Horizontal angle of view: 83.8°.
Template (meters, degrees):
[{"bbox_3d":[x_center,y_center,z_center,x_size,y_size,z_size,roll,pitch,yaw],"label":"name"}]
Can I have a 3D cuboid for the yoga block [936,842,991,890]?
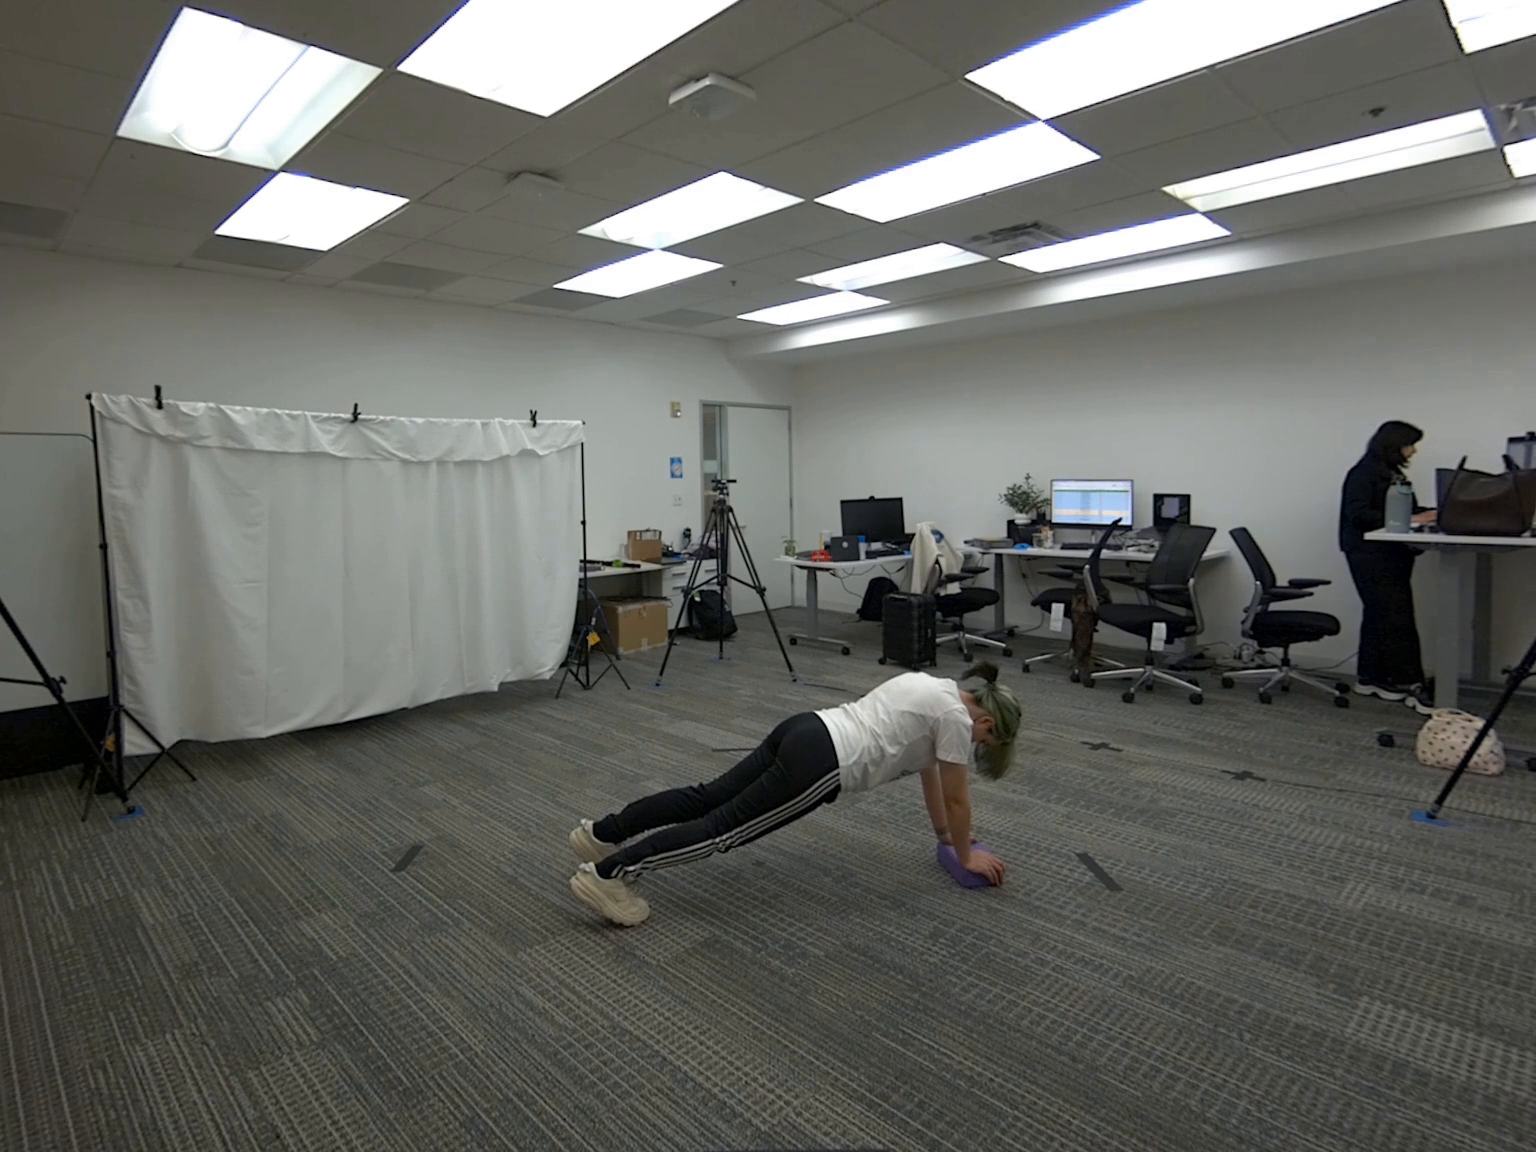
[{"bbox_3d":[0.707,1.007,3.008,0.148,0.076,0.232,-2,5,-10],"label":"yoga block"}]
